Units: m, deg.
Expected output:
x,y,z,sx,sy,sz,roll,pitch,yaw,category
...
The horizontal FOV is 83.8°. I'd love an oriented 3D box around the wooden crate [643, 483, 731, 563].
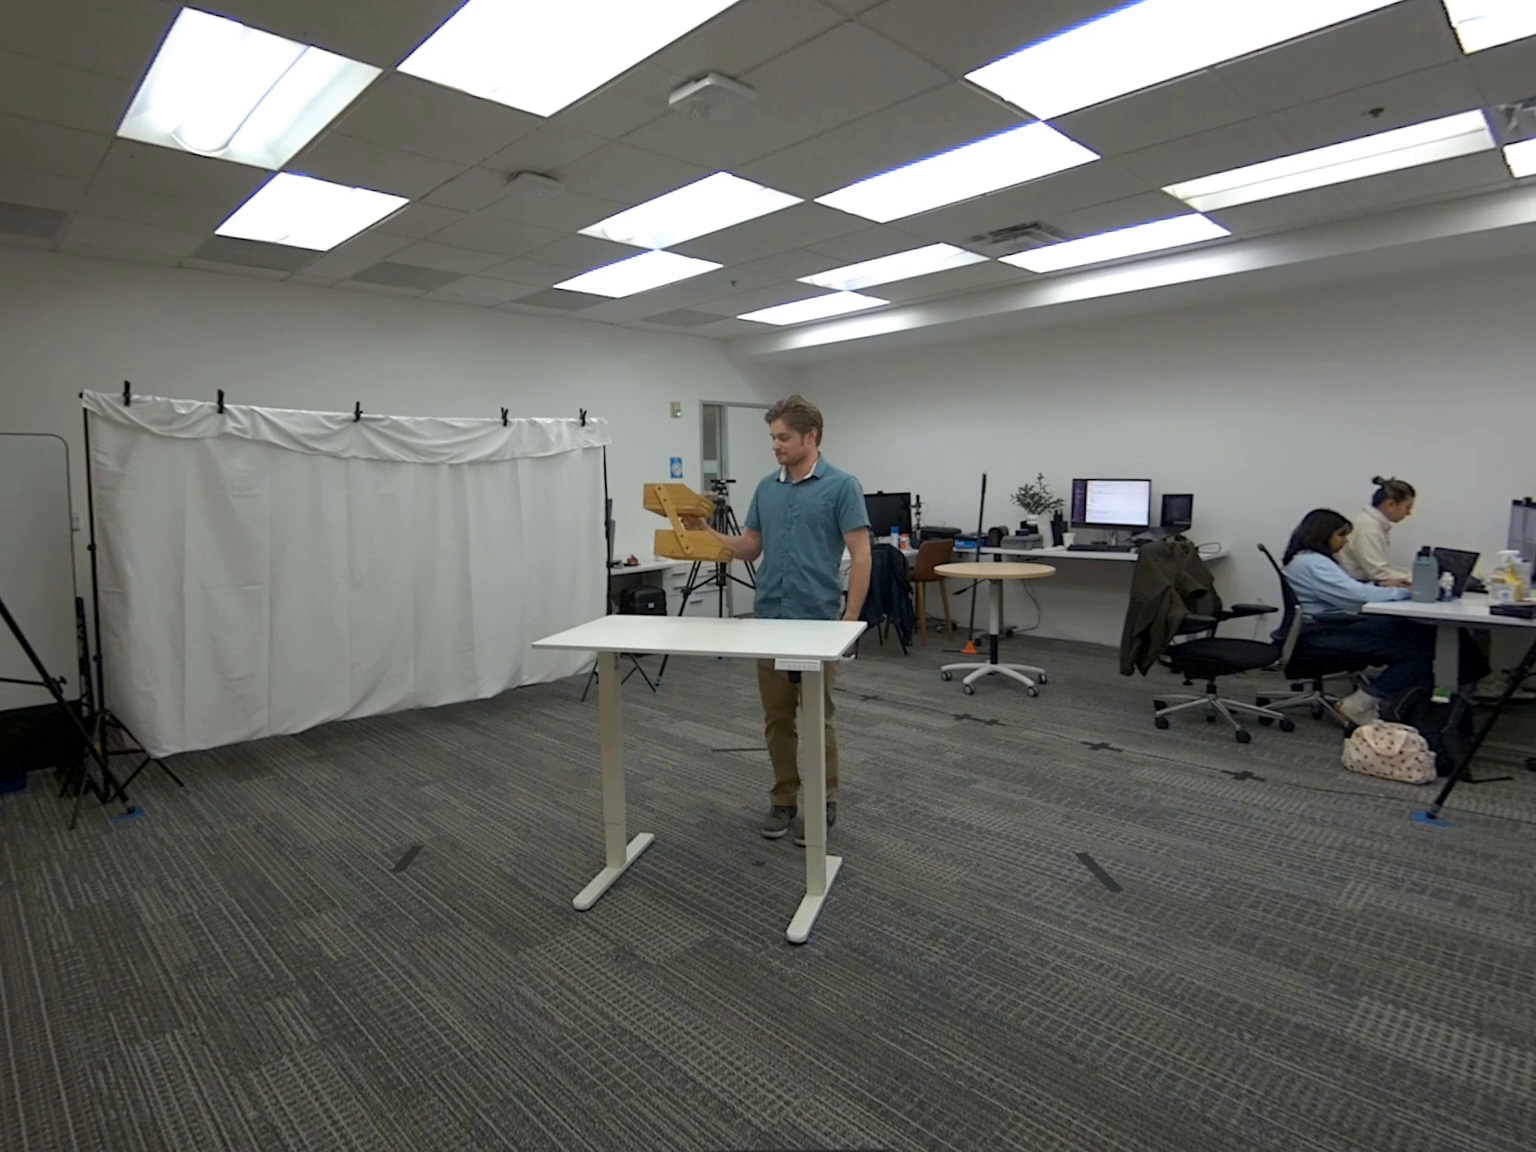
x,y,z,sx,sy,sz,roll,pitch,yaw,category
-0.279,-0.199,3.201,0.304,0.274,0.321,1,-4,6,wooden crate
